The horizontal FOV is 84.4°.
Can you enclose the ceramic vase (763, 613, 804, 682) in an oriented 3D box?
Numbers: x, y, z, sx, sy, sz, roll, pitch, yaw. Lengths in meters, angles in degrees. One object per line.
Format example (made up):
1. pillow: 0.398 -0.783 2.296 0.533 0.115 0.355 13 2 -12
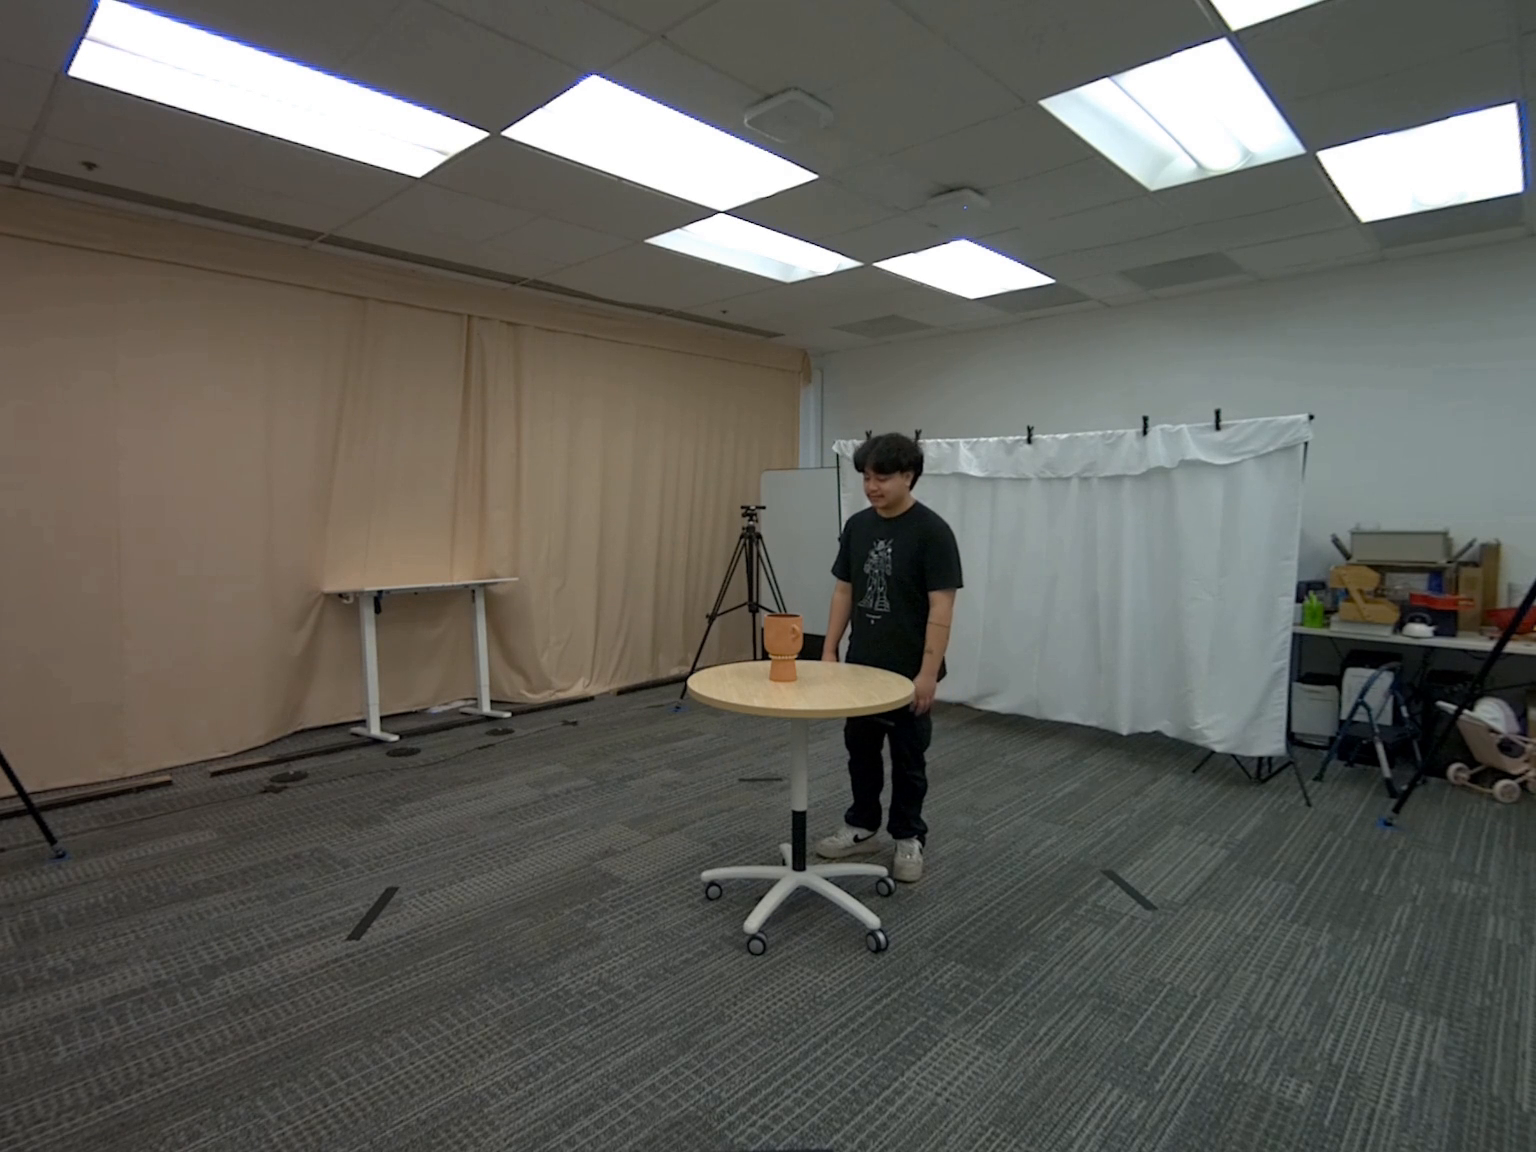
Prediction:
1. ceramic vase: 0.056 0.247 2.898 0.155 0.219 0.138 -1 4 -26
